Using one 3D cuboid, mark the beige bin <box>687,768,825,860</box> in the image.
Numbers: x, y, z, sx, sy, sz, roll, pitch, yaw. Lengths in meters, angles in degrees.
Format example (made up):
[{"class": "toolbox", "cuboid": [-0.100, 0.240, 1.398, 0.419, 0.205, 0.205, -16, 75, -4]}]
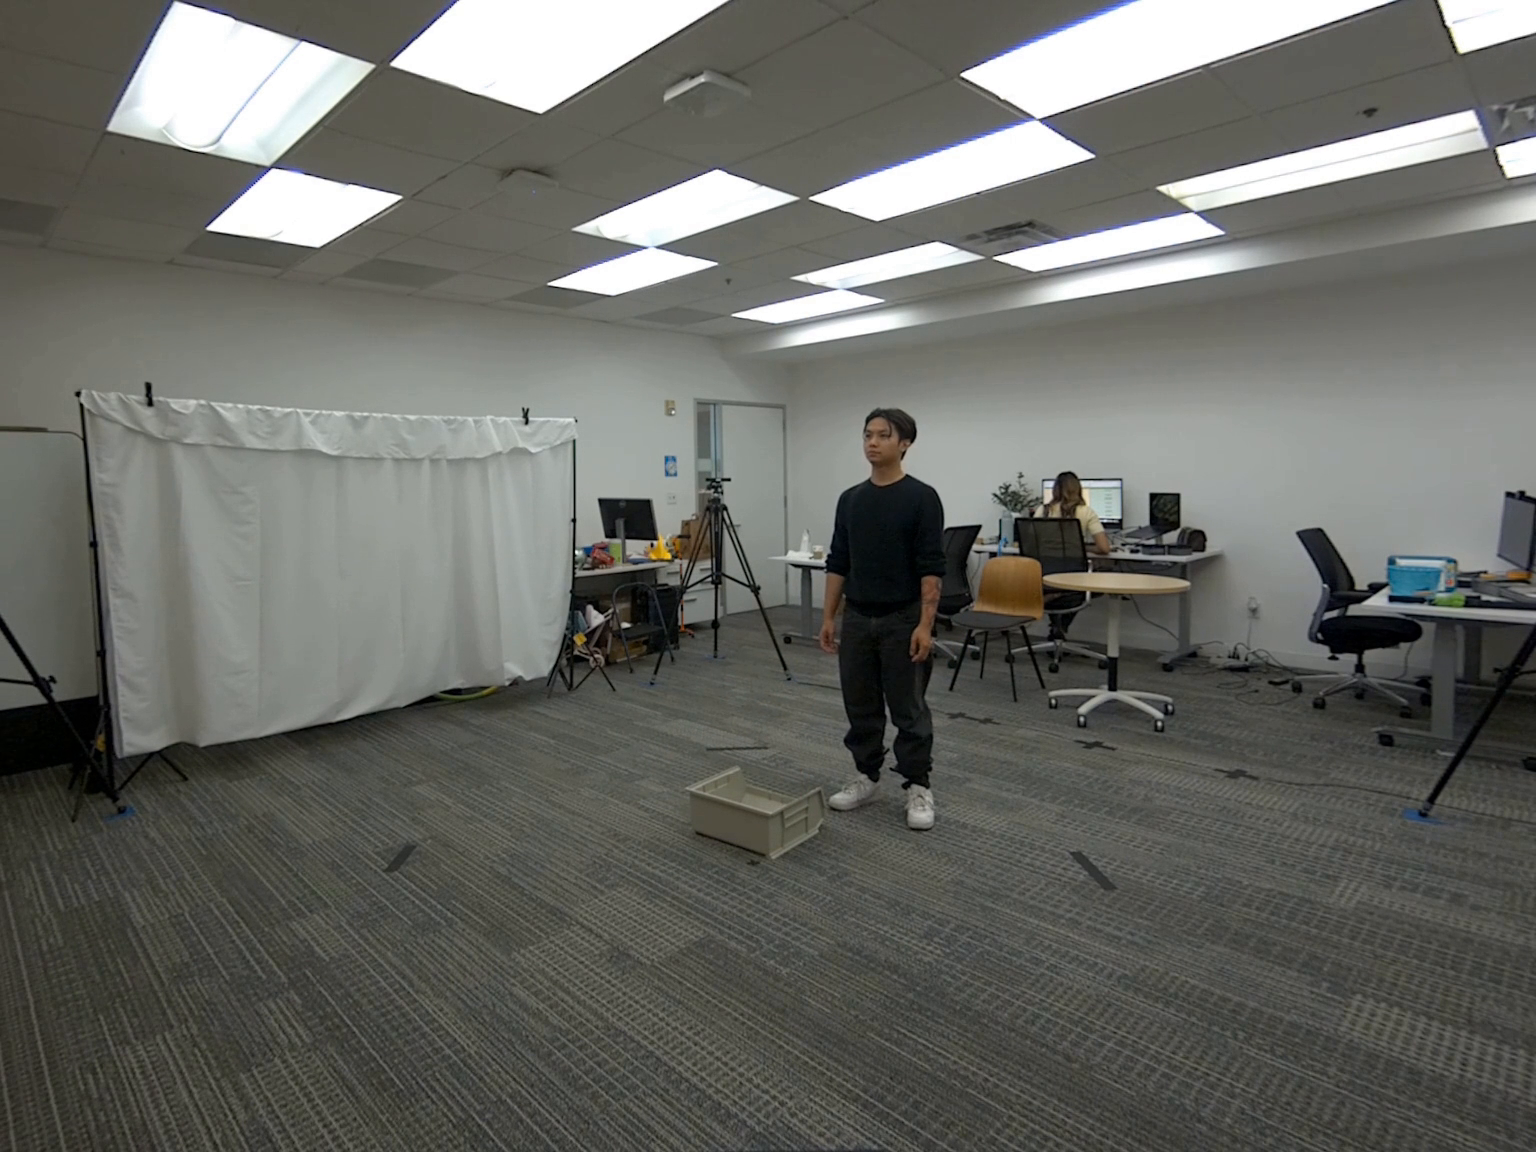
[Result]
[{"class": "beige bin", "cuboid": [-0.046, 0.922, 3.385, 0.435, 0.188, 0.368, 4, 9, 37]}]
